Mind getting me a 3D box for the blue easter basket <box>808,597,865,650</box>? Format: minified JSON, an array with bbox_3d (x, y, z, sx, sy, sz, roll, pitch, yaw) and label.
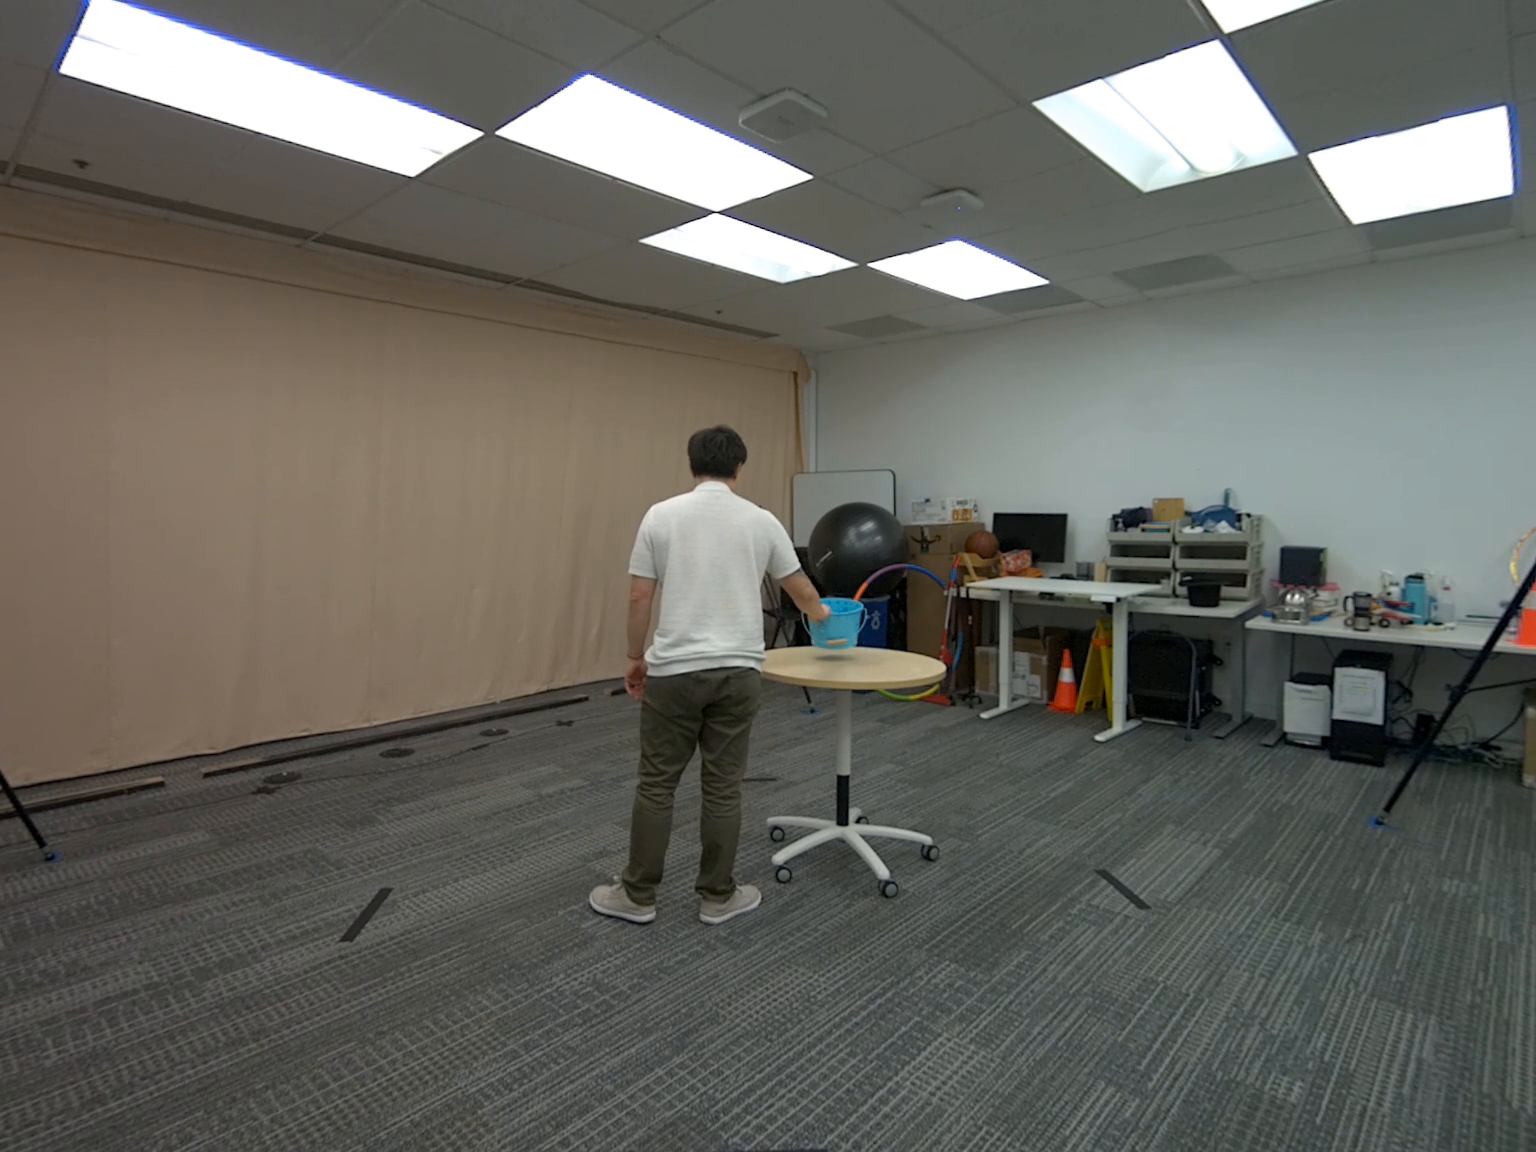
[{"bbox_3d":[0.257,0.178,3.336,0.243,0.155,0.245,-2,10,-2],"label":"blue easter basket"}]
